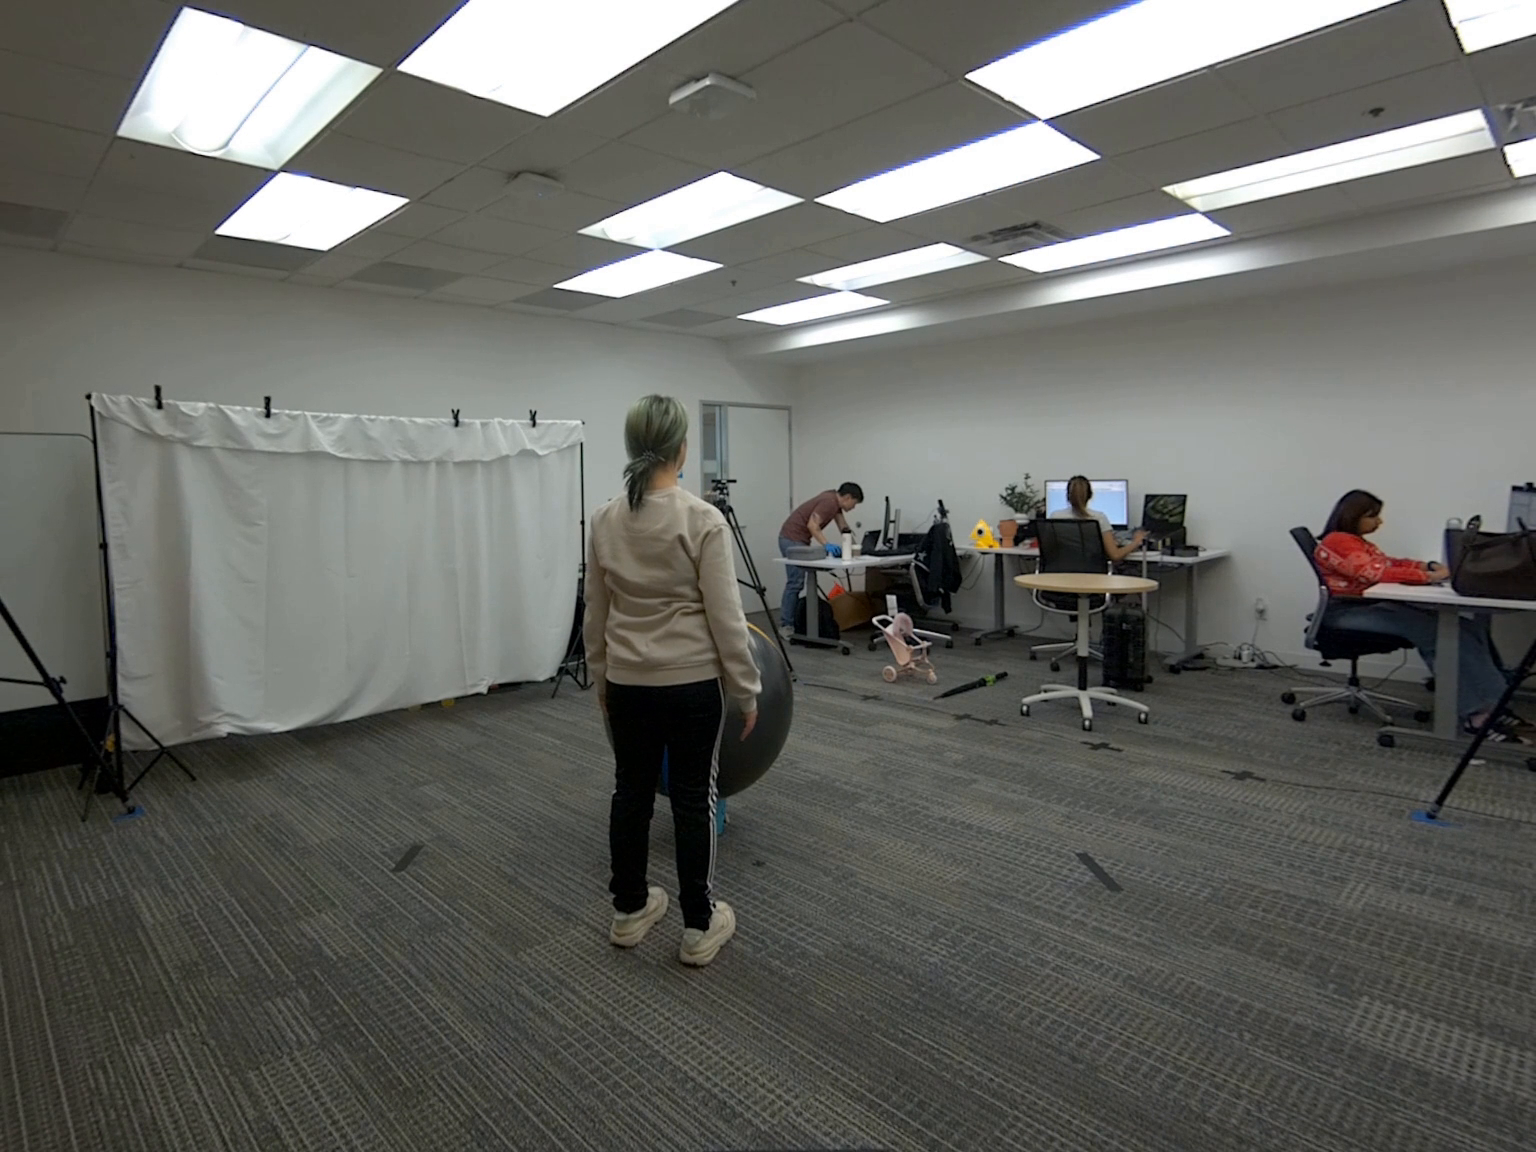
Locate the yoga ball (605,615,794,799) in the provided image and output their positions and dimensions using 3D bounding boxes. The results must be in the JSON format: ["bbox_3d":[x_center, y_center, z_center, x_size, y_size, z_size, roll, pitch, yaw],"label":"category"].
[{"bbox_3d":[-0.273,0.508,3.401,0.757,0.755,0.762,-1,5,-2],"label":"yoga ball"}]
